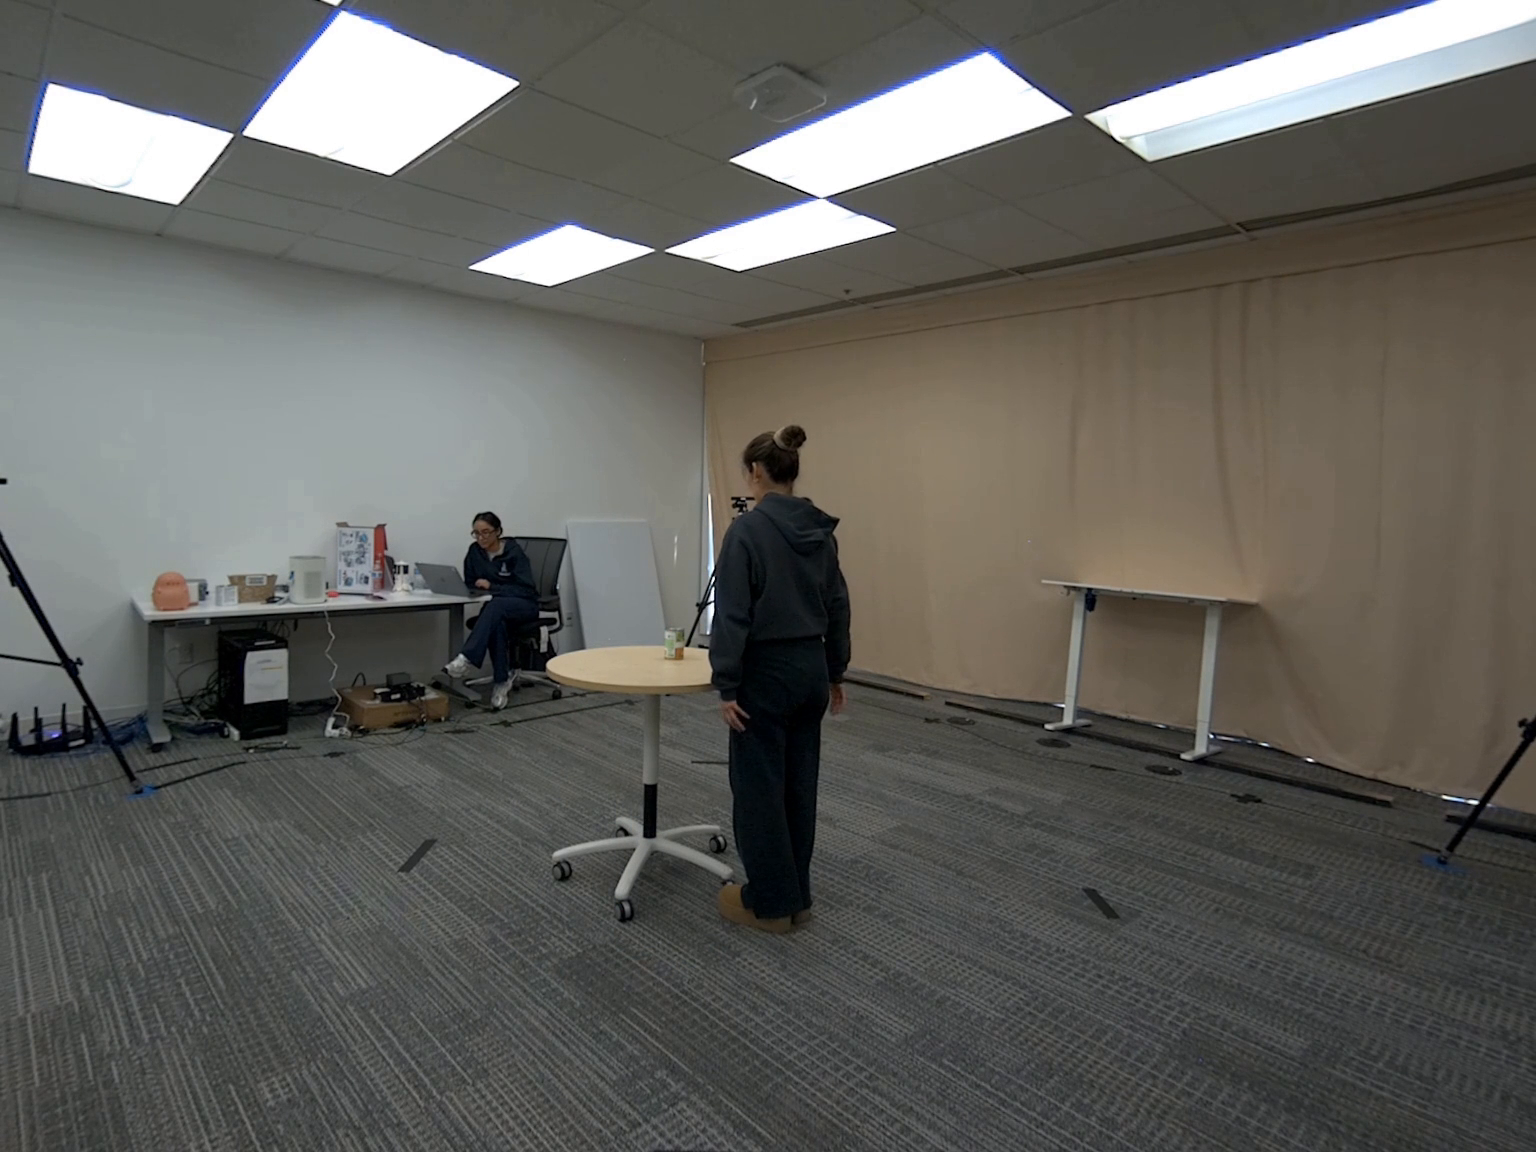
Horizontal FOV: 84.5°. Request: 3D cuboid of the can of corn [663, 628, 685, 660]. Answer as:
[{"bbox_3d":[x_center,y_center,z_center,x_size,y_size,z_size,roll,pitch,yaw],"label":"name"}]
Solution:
[{"bbox_3d":[-0.365,0.255,3.183,0.074,0.111,0.074,2,3,-1],"label":"can of corn"}]
